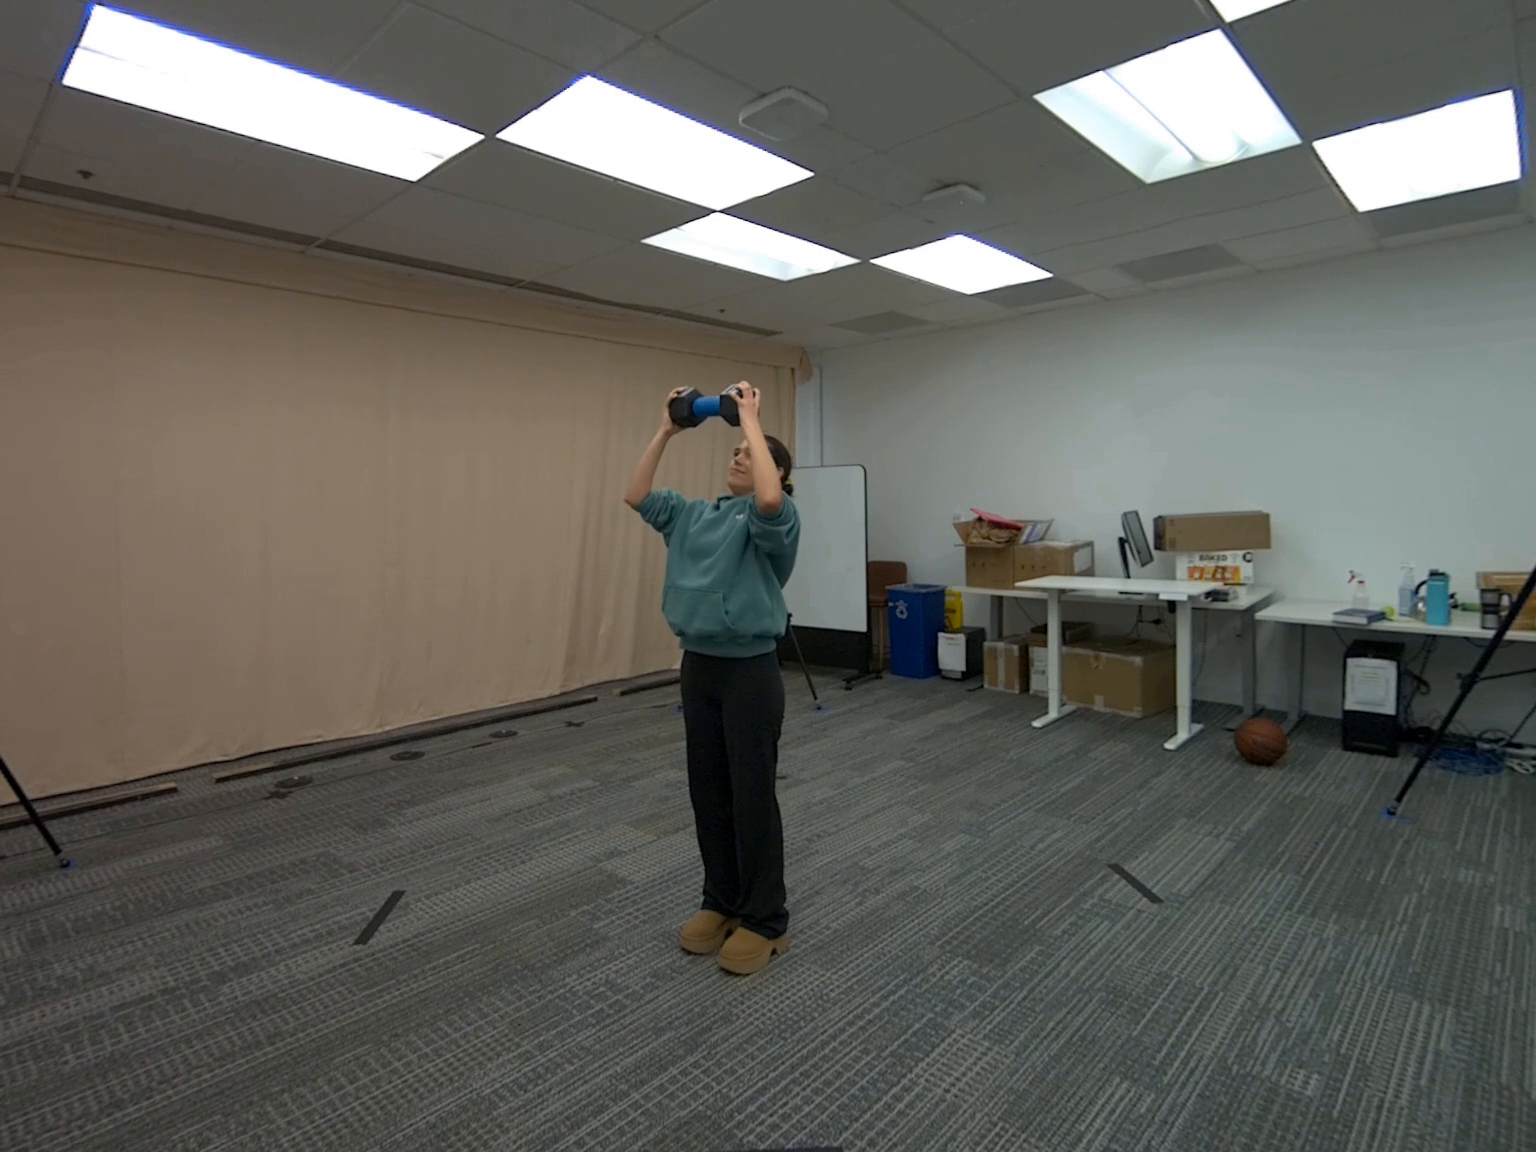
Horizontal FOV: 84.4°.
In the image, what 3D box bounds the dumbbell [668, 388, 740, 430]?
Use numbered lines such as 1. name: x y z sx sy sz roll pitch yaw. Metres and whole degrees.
1. dumbbell: -0.154 -0.509 2.543 0.303 0.122 0.105 7 9 41
